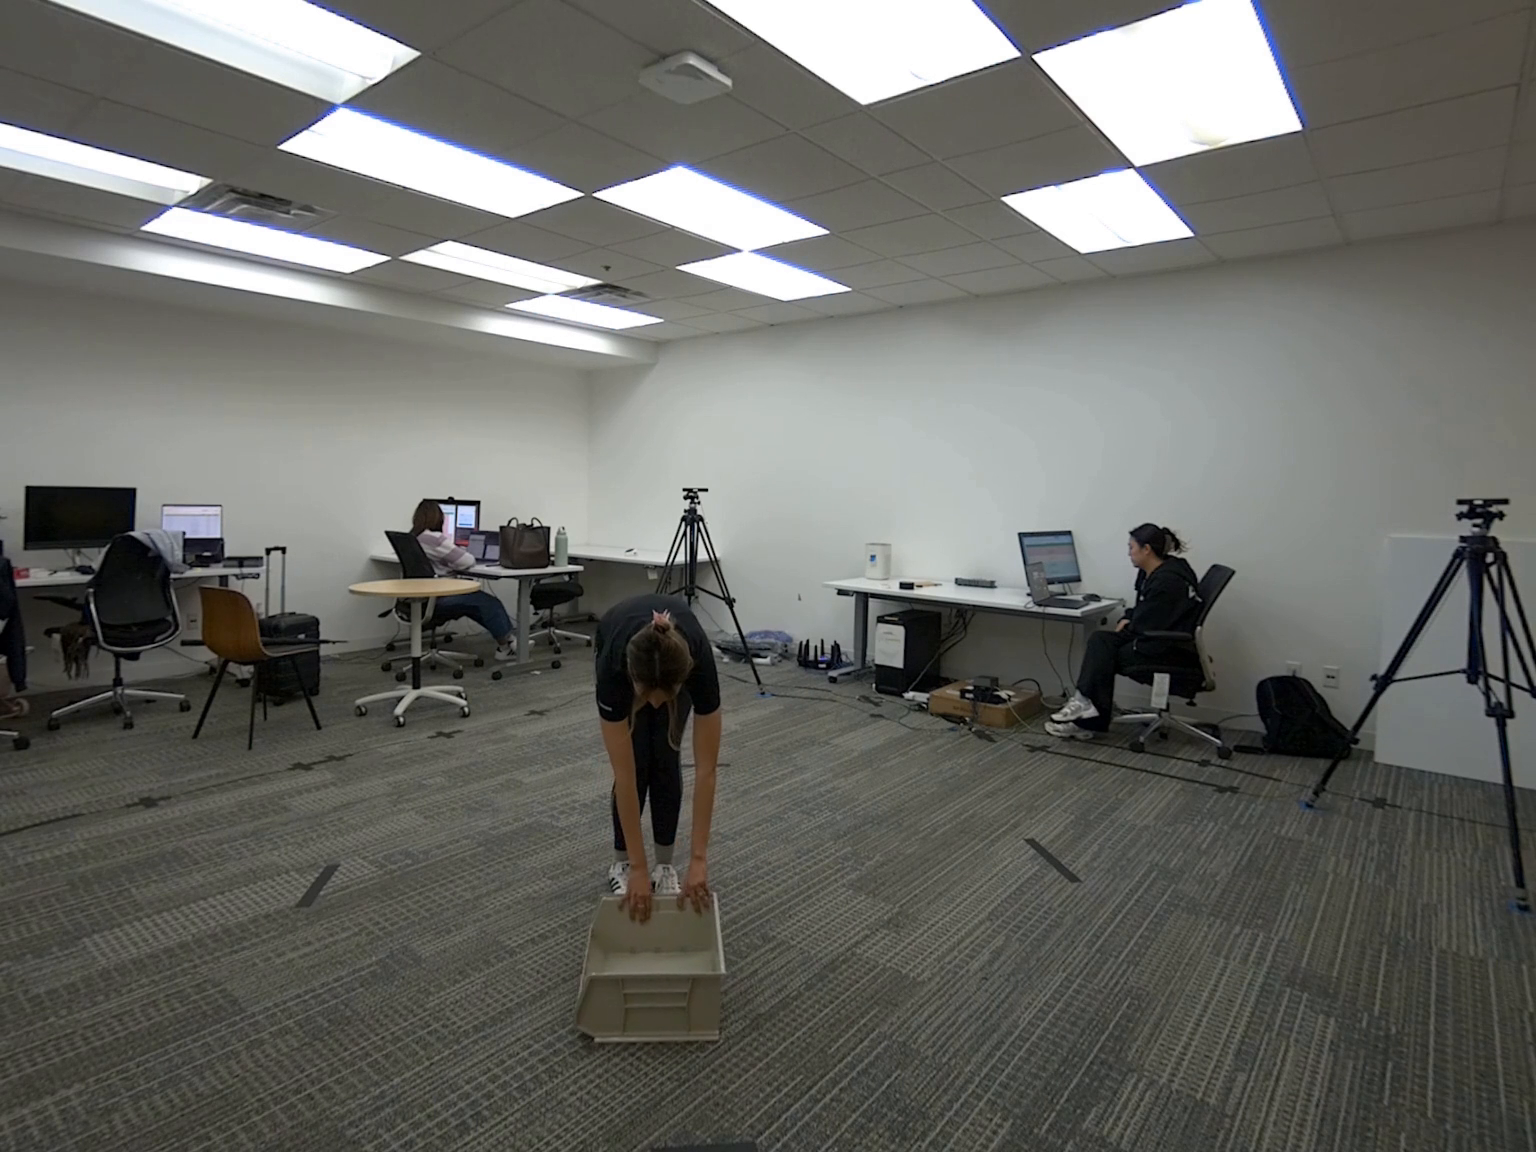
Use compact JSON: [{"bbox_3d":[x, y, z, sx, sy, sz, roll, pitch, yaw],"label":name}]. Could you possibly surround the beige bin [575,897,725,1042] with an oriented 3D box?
[{"bbox_3d":[-0.319,1.052,2.333,0.375,0.188,0.426,2,4,-6],"label":"beige bin"}]
